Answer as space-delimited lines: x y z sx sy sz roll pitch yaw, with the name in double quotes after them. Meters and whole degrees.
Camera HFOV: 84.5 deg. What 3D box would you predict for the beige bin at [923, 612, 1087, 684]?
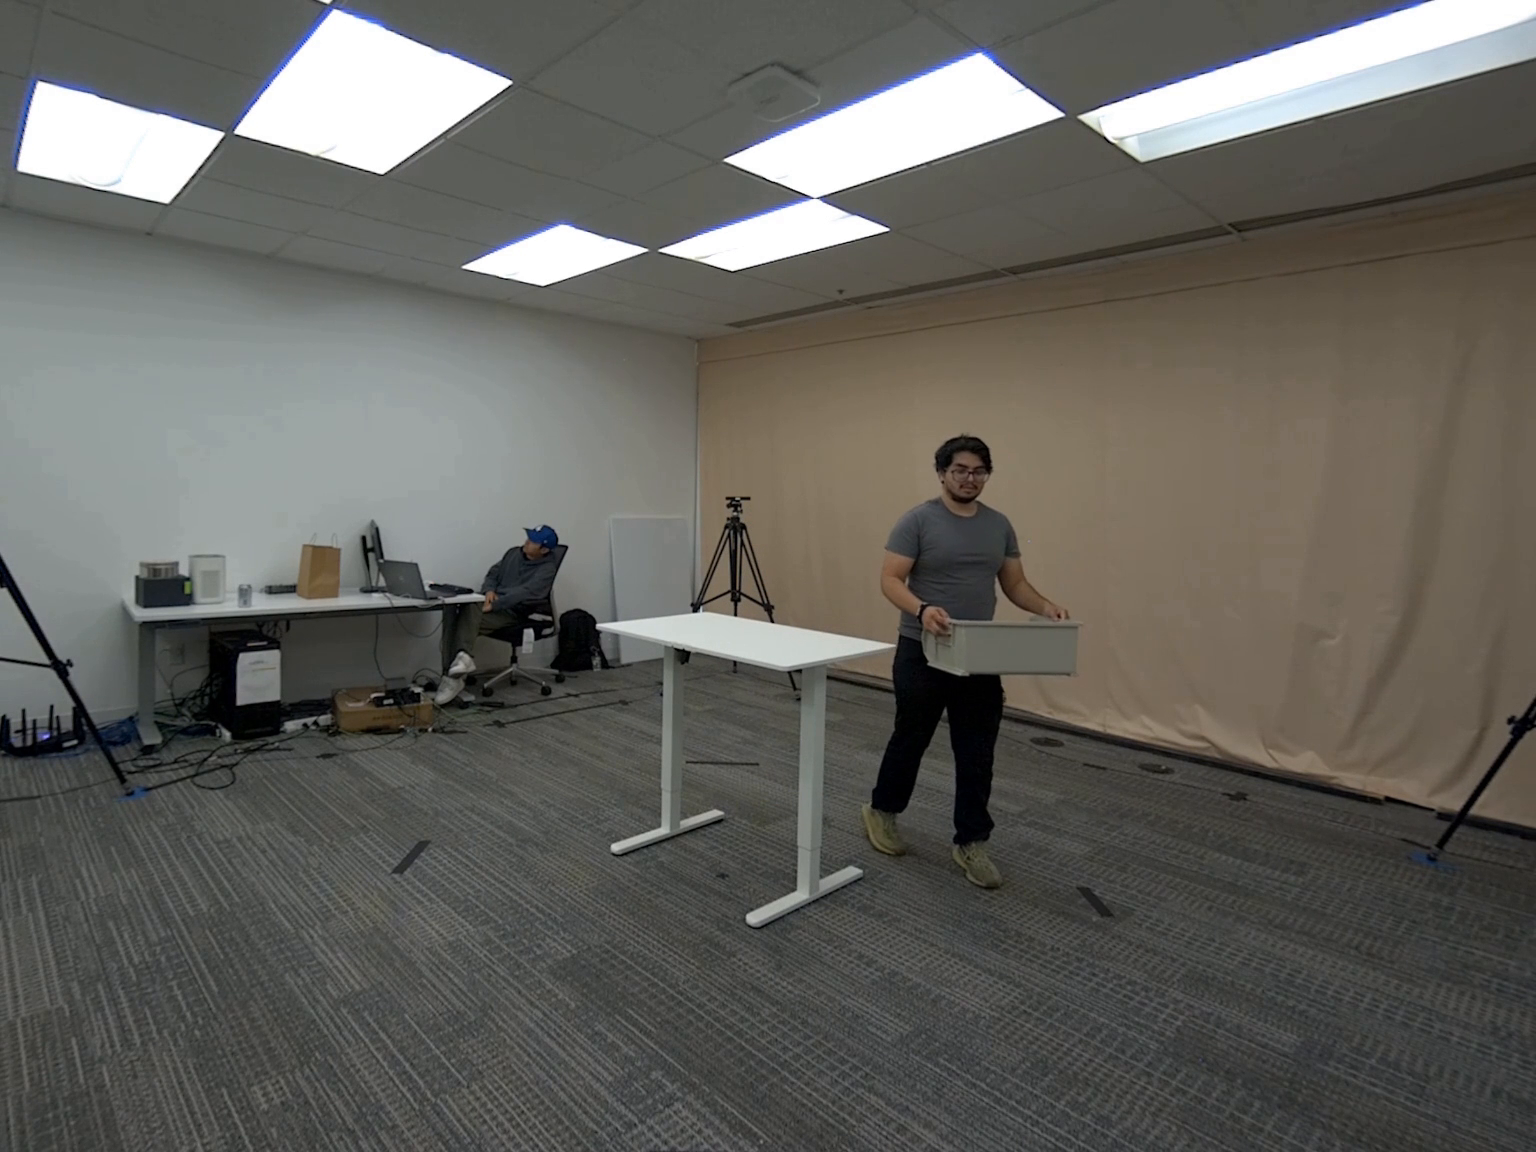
0.796 0.234 2.925 0.420 0.189 0.380 2 2 -7 "beige bin"
